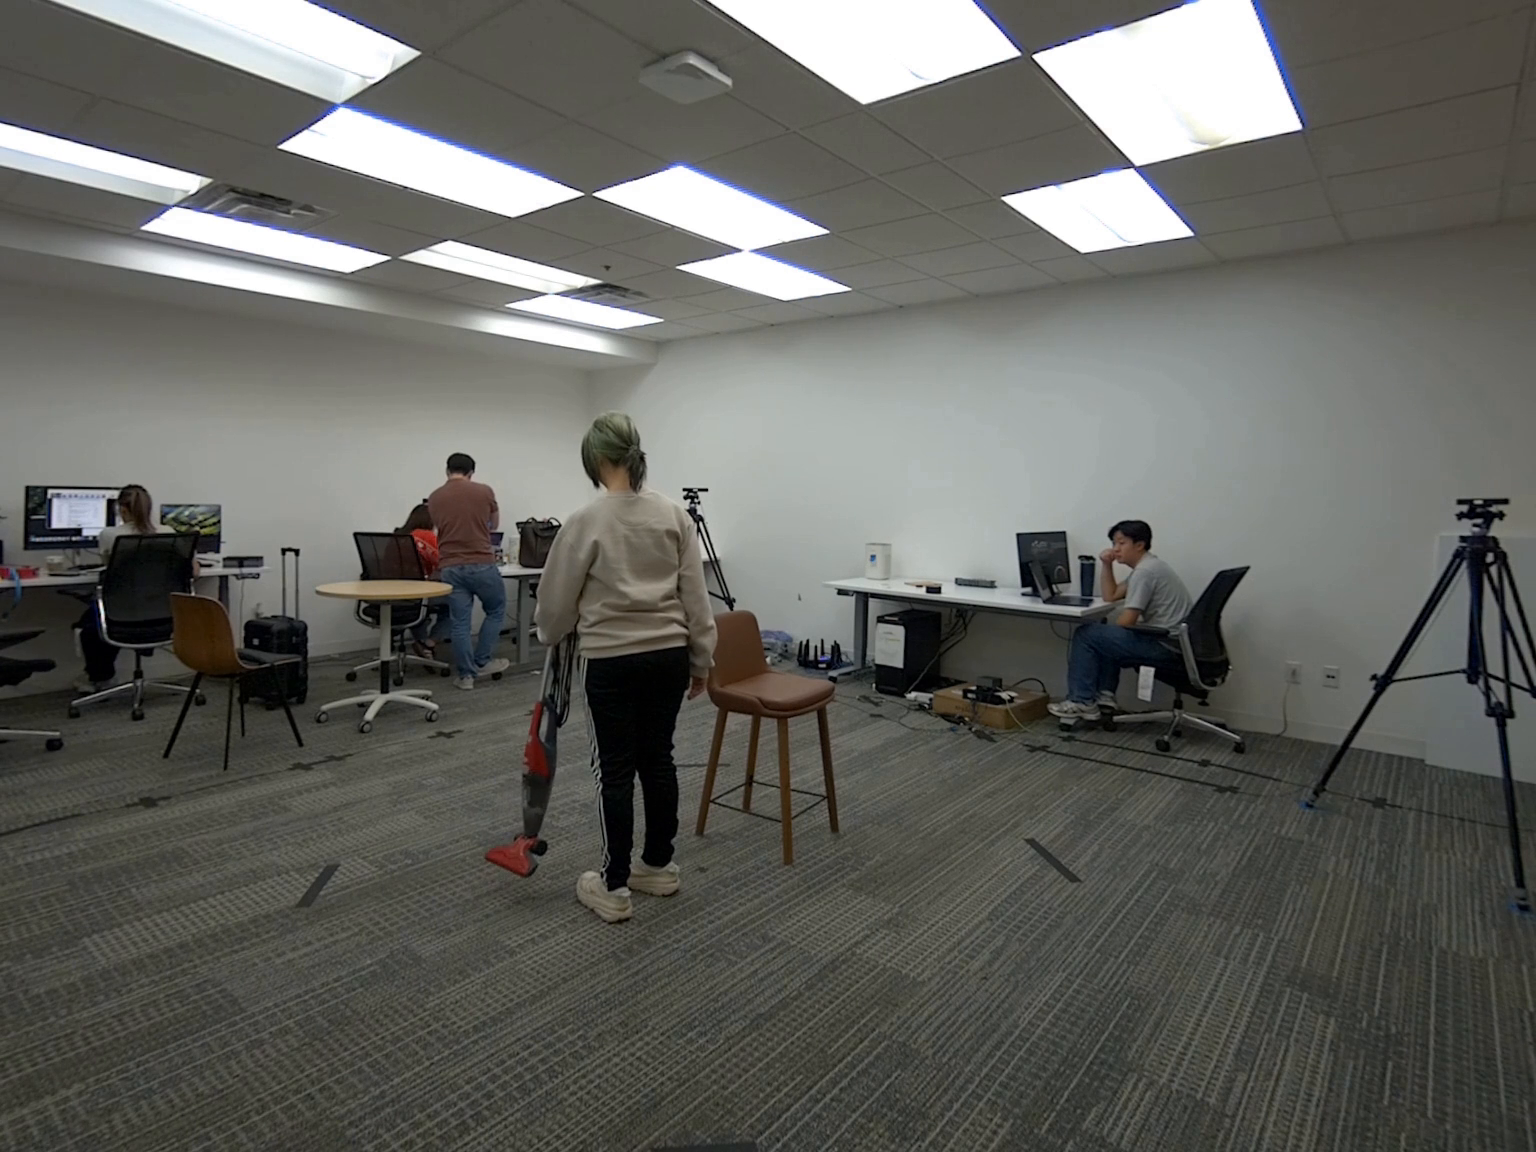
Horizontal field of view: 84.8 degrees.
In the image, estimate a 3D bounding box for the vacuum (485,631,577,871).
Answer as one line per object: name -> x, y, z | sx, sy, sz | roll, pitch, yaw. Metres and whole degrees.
vacuum -> -0.786, 0.447, 3.018 | 0.260, 1.059, 0.138 | -3, -16, 44
